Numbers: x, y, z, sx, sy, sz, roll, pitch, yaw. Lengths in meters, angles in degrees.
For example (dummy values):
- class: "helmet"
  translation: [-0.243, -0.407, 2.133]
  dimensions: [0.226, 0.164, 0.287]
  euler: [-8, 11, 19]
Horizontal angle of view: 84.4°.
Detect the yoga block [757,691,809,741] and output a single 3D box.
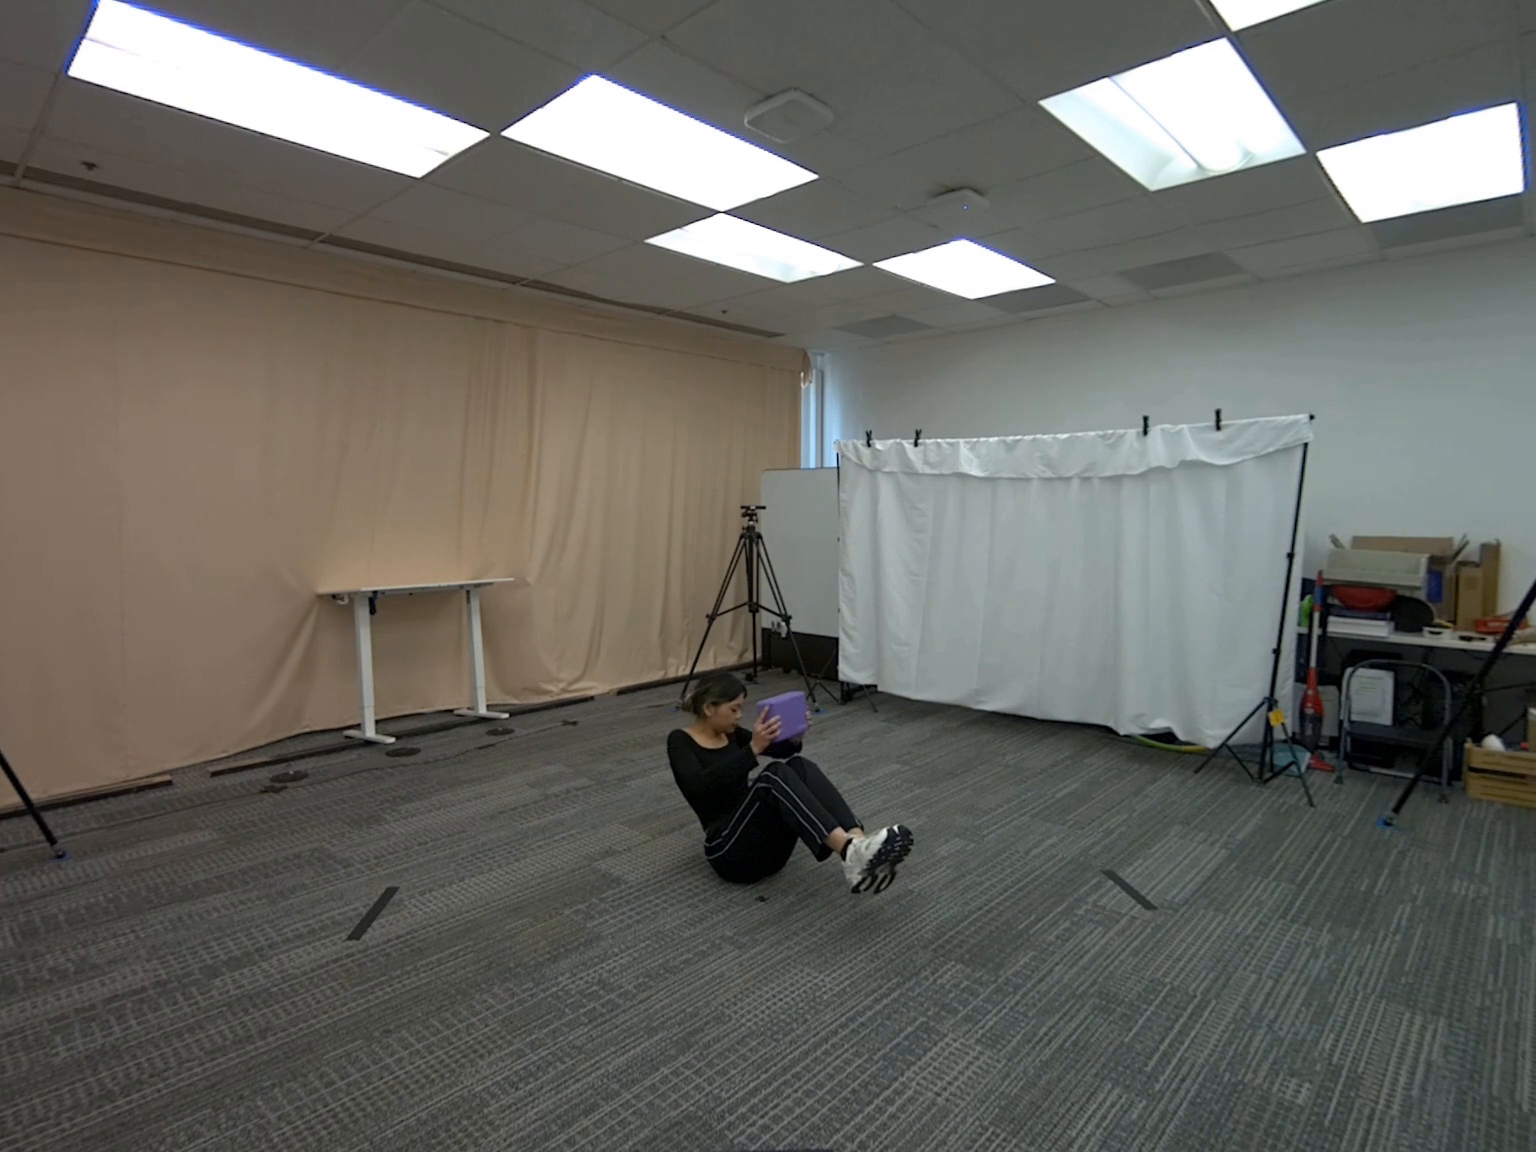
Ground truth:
- class: "yoga block"
  translation: [0.052, 0.531, 3.145]
  dimensions: [0.078, 0.149, 0.223]
  euler: [-7, 0, 35]
